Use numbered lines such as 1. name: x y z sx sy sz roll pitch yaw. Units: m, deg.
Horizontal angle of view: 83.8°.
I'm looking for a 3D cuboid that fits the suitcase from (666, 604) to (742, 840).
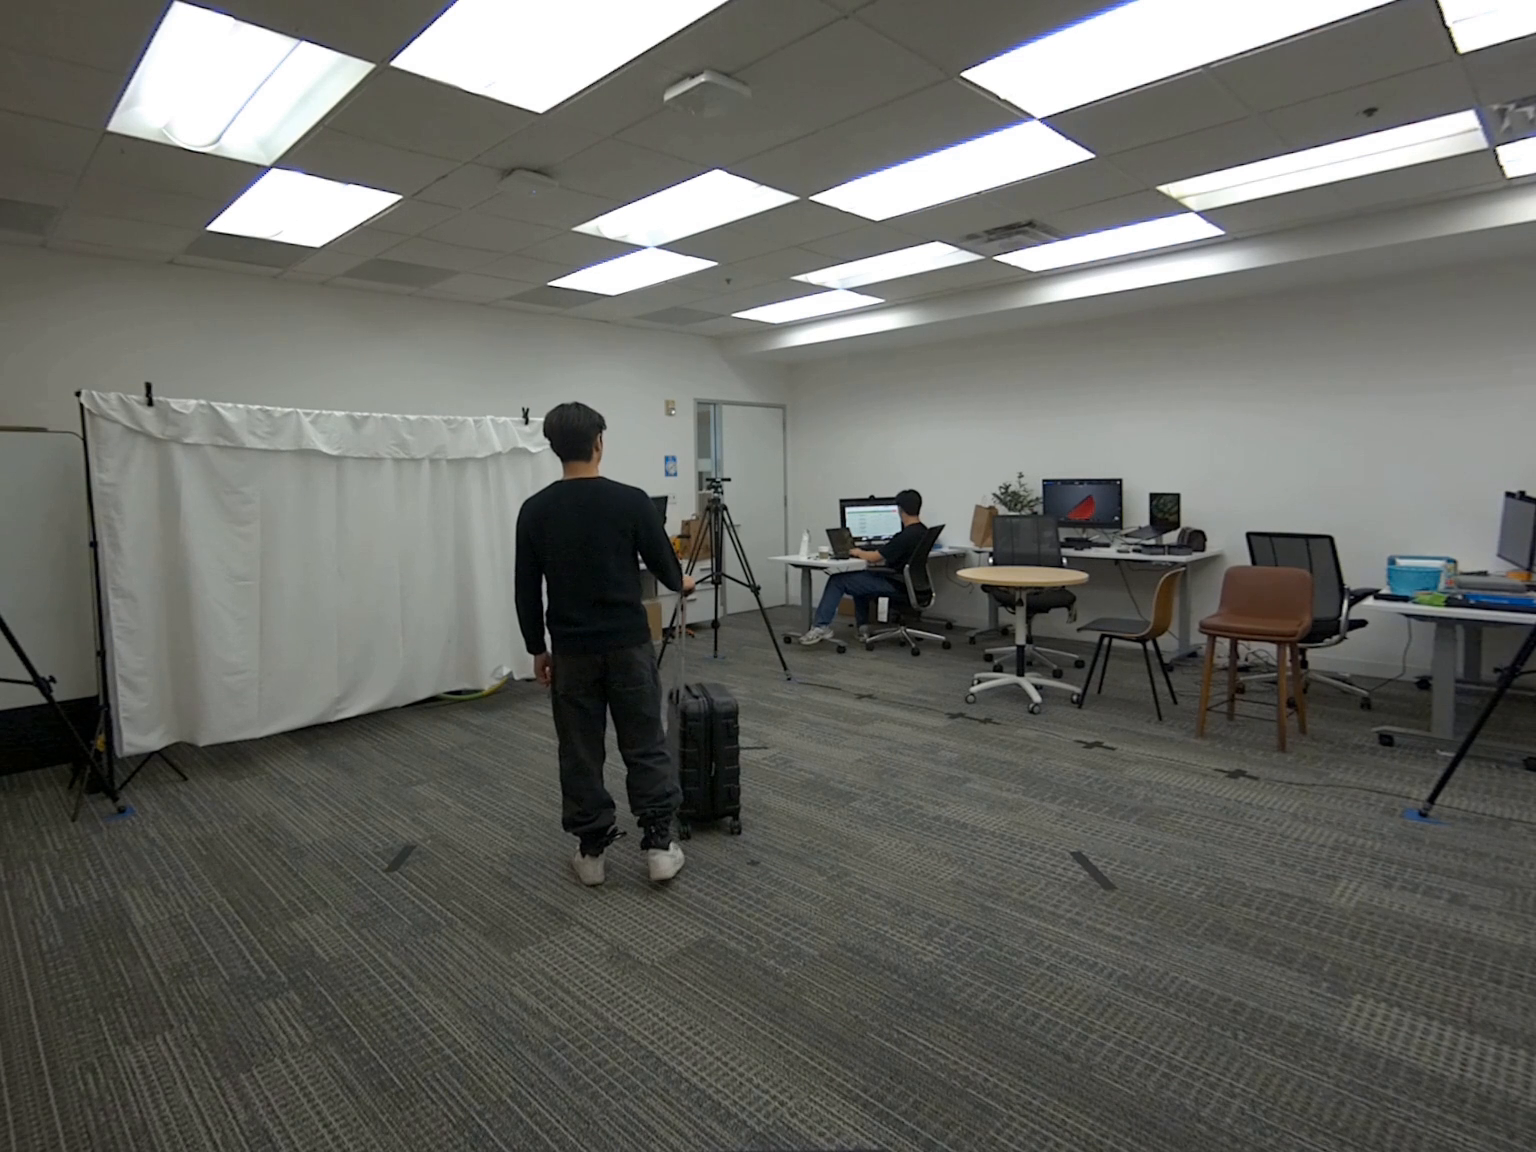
1. suitcase: -0.258 0.529 3.487 0.254 0.976 0.390 1 3 -13
